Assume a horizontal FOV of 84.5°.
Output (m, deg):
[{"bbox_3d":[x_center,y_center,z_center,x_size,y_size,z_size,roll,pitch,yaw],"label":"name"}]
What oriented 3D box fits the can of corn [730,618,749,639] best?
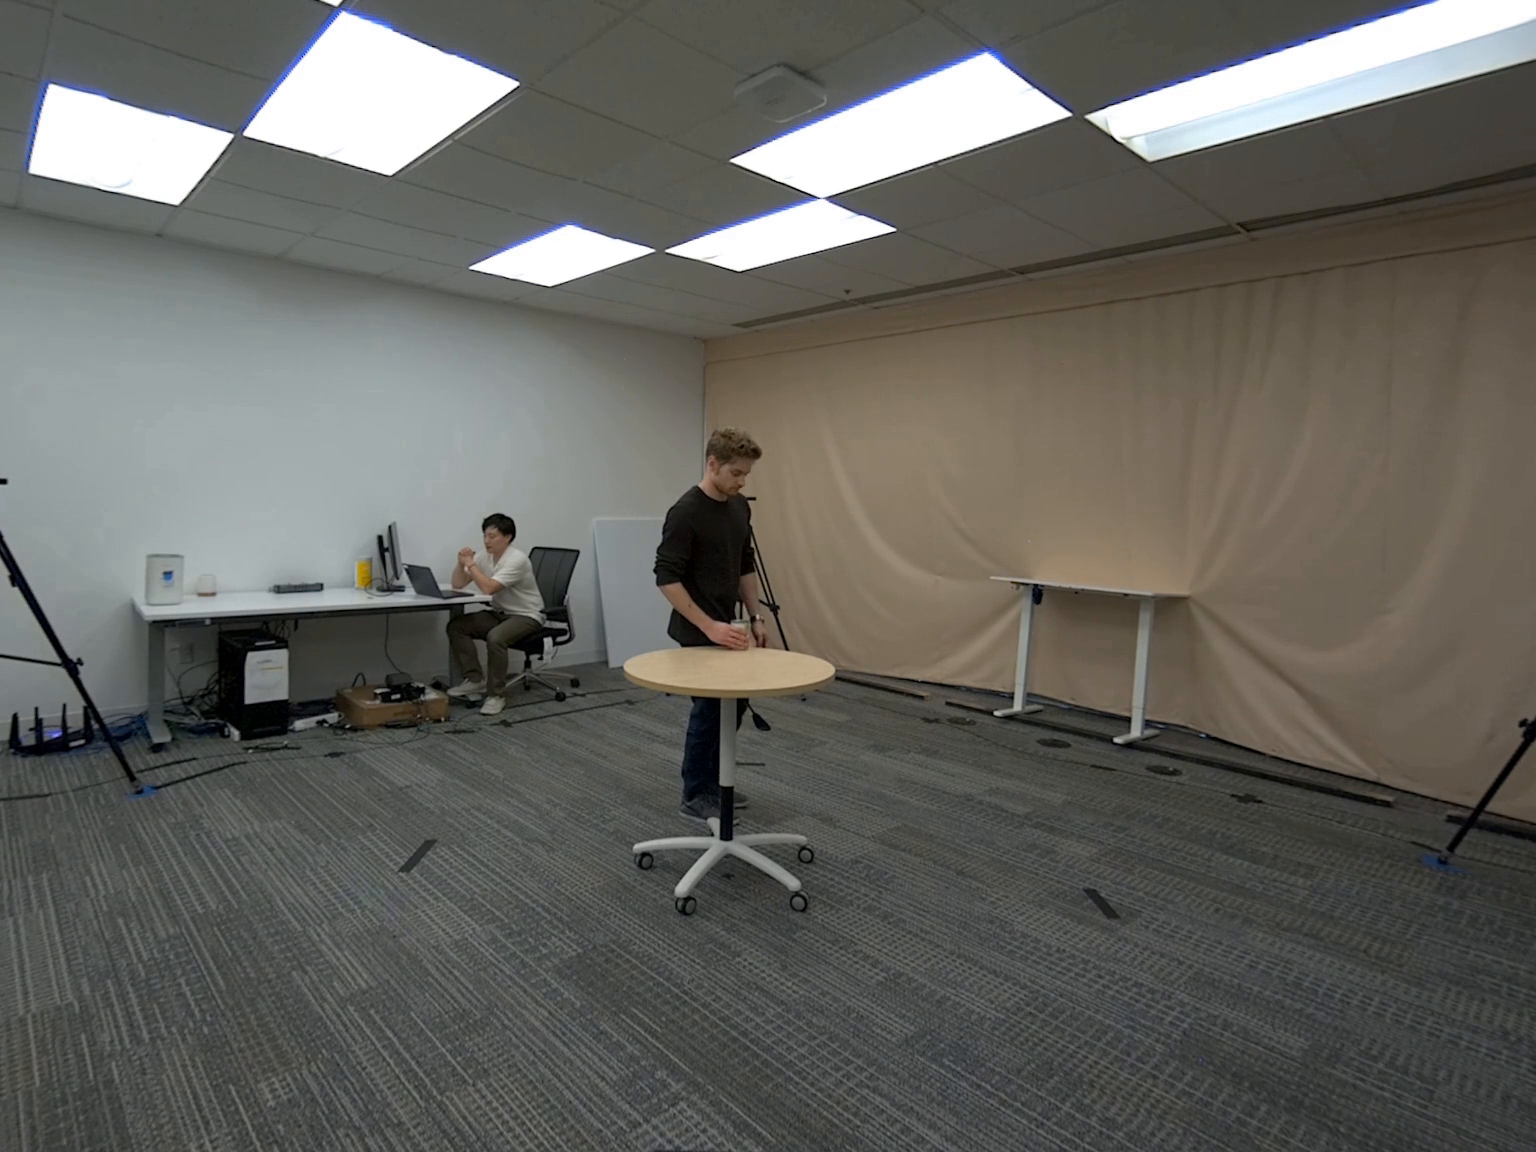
[{"bbox_3d":[-0.135,0.243,3.395,0.074,0.111,0.074,-1,4,-1],"label":"can of corn"}]
